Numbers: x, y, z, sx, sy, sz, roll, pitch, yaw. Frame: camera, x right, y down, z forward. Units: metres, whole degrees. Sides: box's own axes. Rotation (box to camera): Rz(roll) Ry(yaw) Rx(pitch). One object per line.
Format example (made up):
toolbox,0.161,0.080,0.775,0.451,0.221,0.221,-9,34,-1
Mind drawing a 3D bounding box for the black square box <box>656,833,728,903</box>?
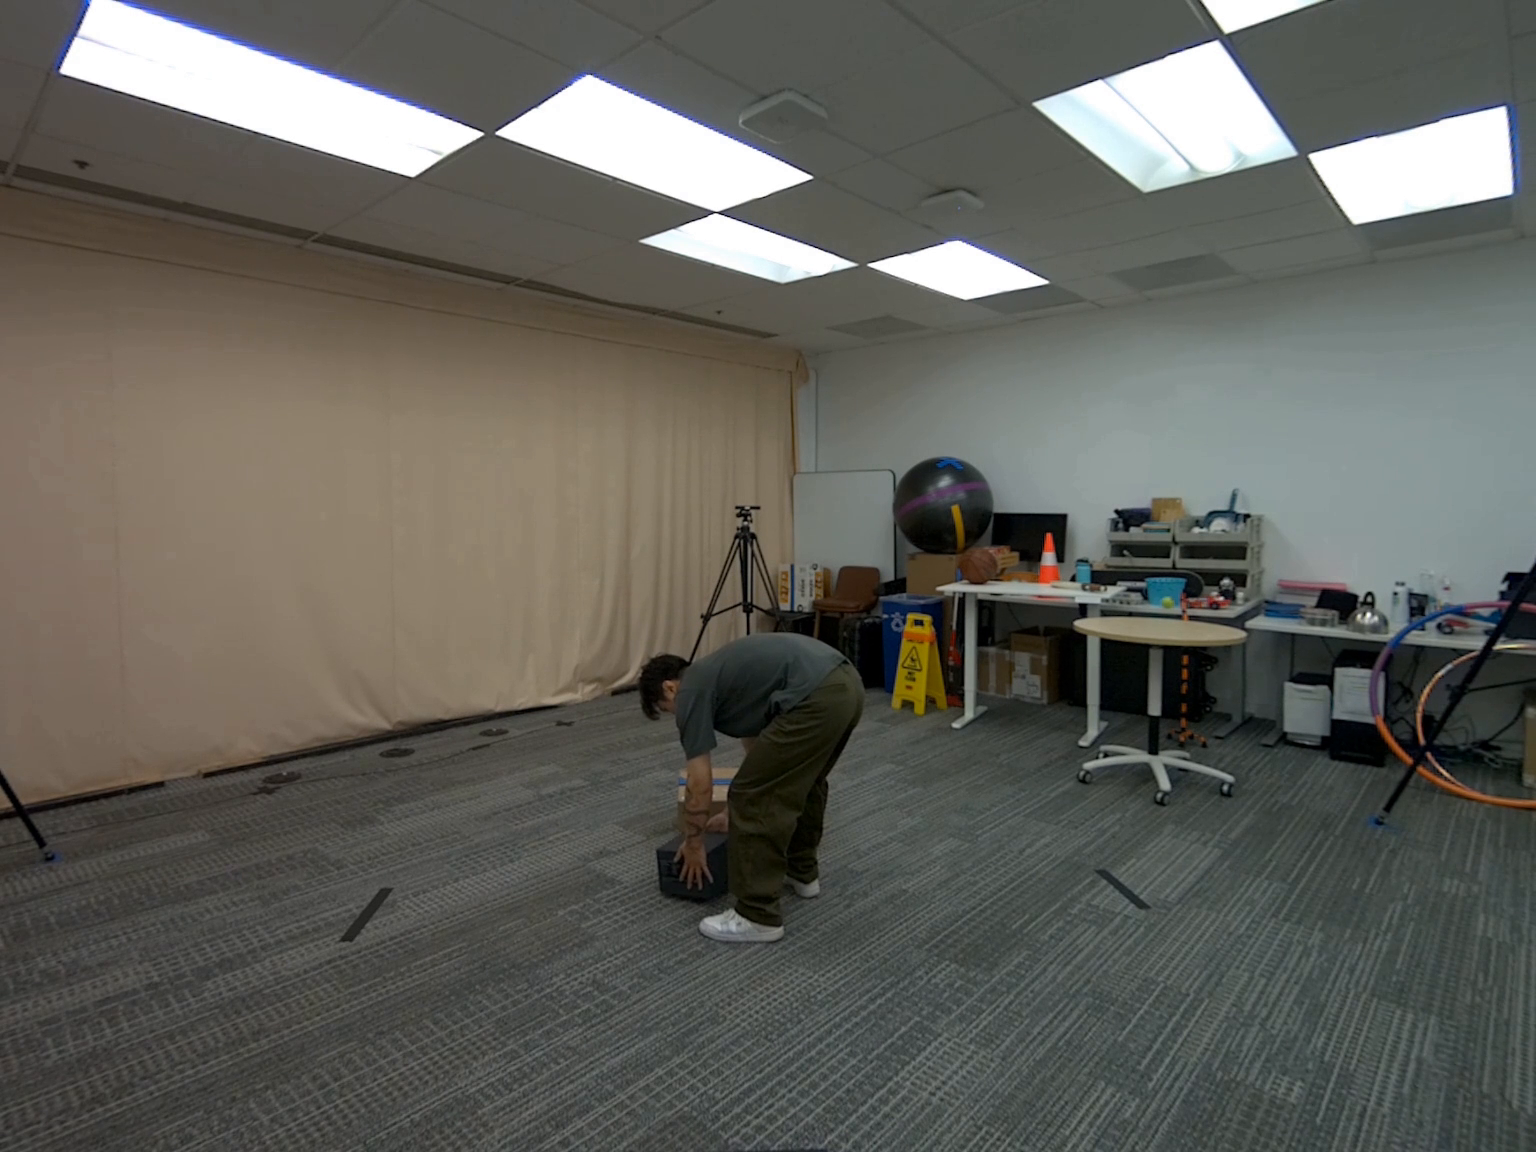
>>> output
black square box,-0.252,1.038,3.051,0.222,0.156,0.222,-6,0,27
